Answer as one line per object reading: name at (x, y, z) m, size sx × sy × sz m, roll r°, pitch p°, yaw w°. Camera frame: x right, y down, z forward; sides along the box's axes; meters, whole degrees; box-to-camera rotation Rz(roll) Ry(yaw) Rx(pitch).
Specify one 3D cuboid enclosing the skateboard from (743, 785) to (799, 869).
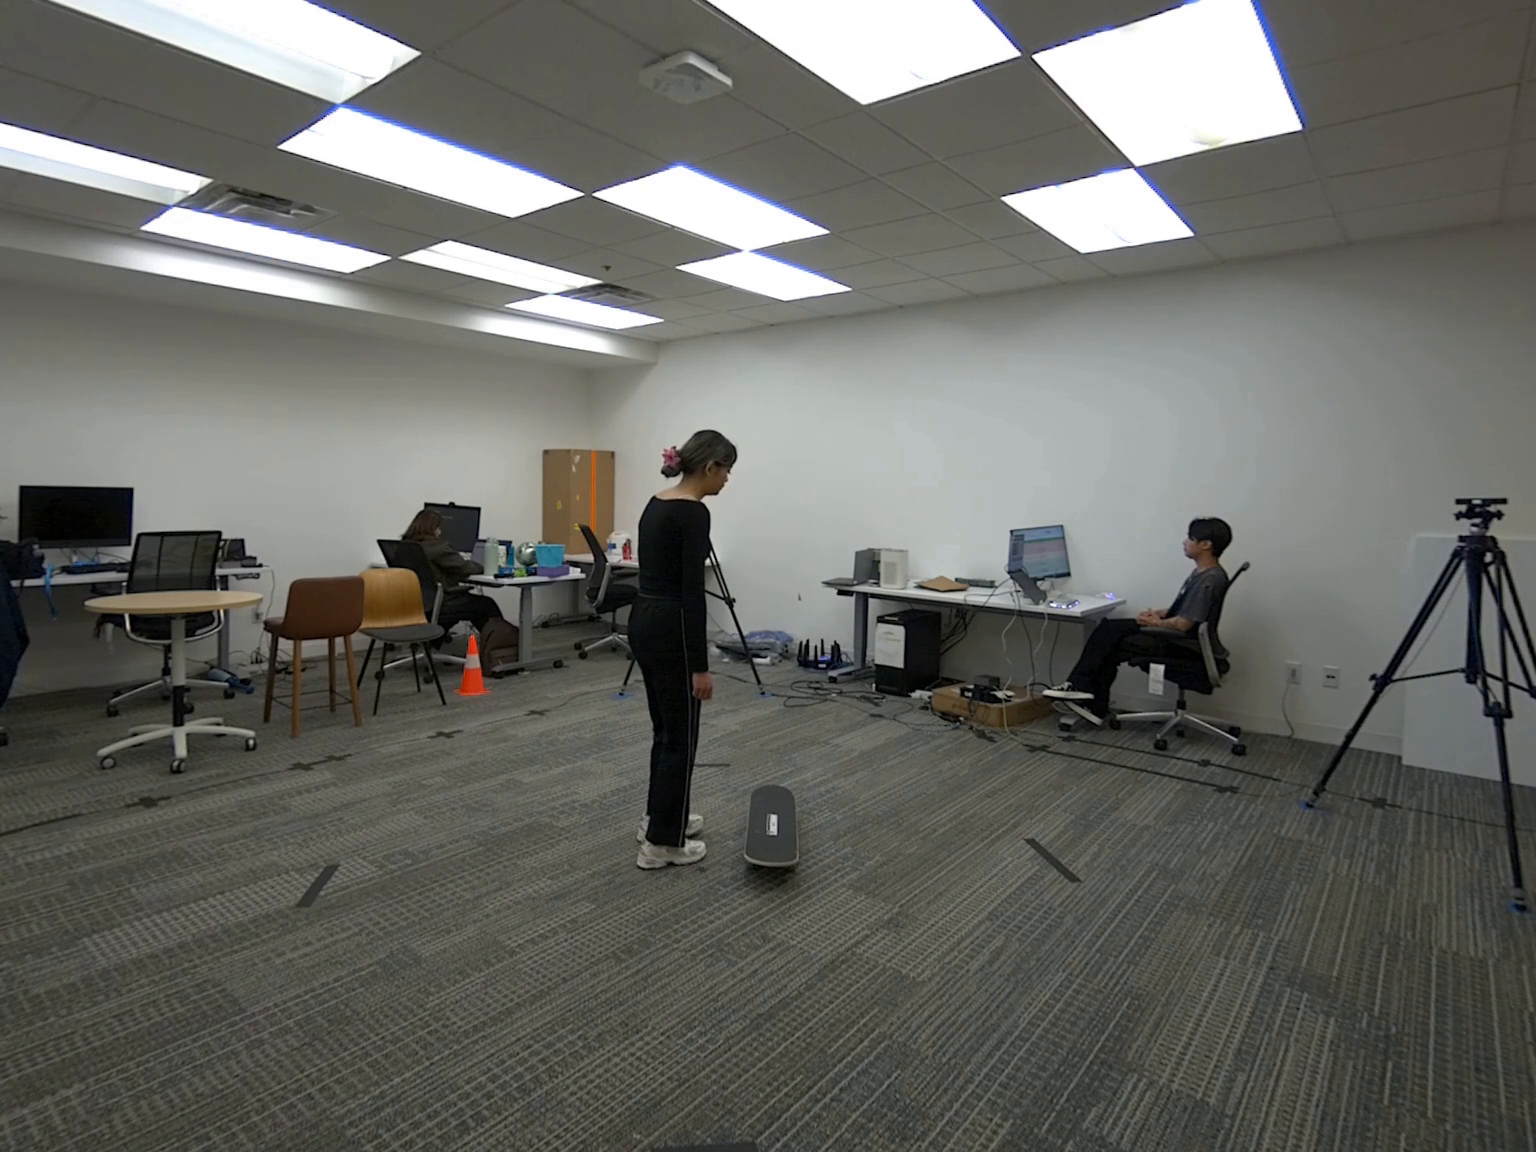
skateboard at (0.007, 0.992, 3.314) m, size 0.194 × 0.110 × 0.786 m, roll 1°, pitch 6°, yaw 1°
